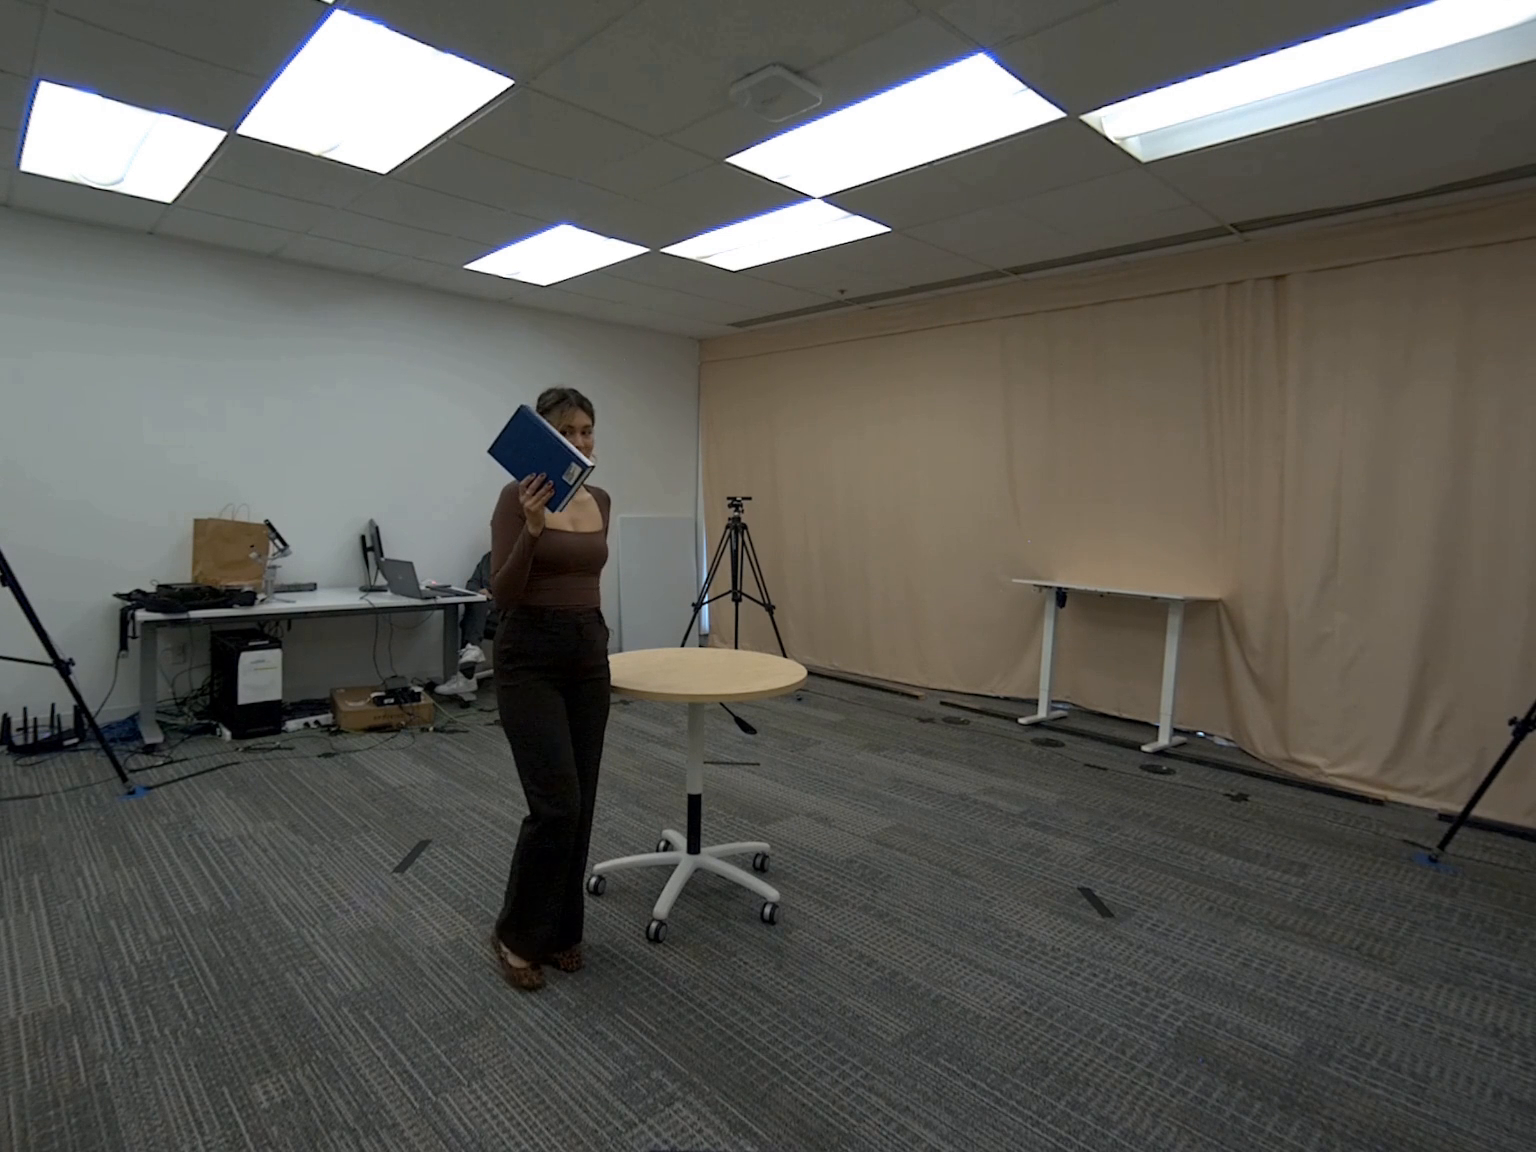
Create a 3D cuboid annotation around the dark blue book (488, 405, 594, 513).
[{"bbox_3d":[-0.601,-0.302,2.173,0.247,0.163,0.045,43,16,6],"label":"dark blue book"}]
